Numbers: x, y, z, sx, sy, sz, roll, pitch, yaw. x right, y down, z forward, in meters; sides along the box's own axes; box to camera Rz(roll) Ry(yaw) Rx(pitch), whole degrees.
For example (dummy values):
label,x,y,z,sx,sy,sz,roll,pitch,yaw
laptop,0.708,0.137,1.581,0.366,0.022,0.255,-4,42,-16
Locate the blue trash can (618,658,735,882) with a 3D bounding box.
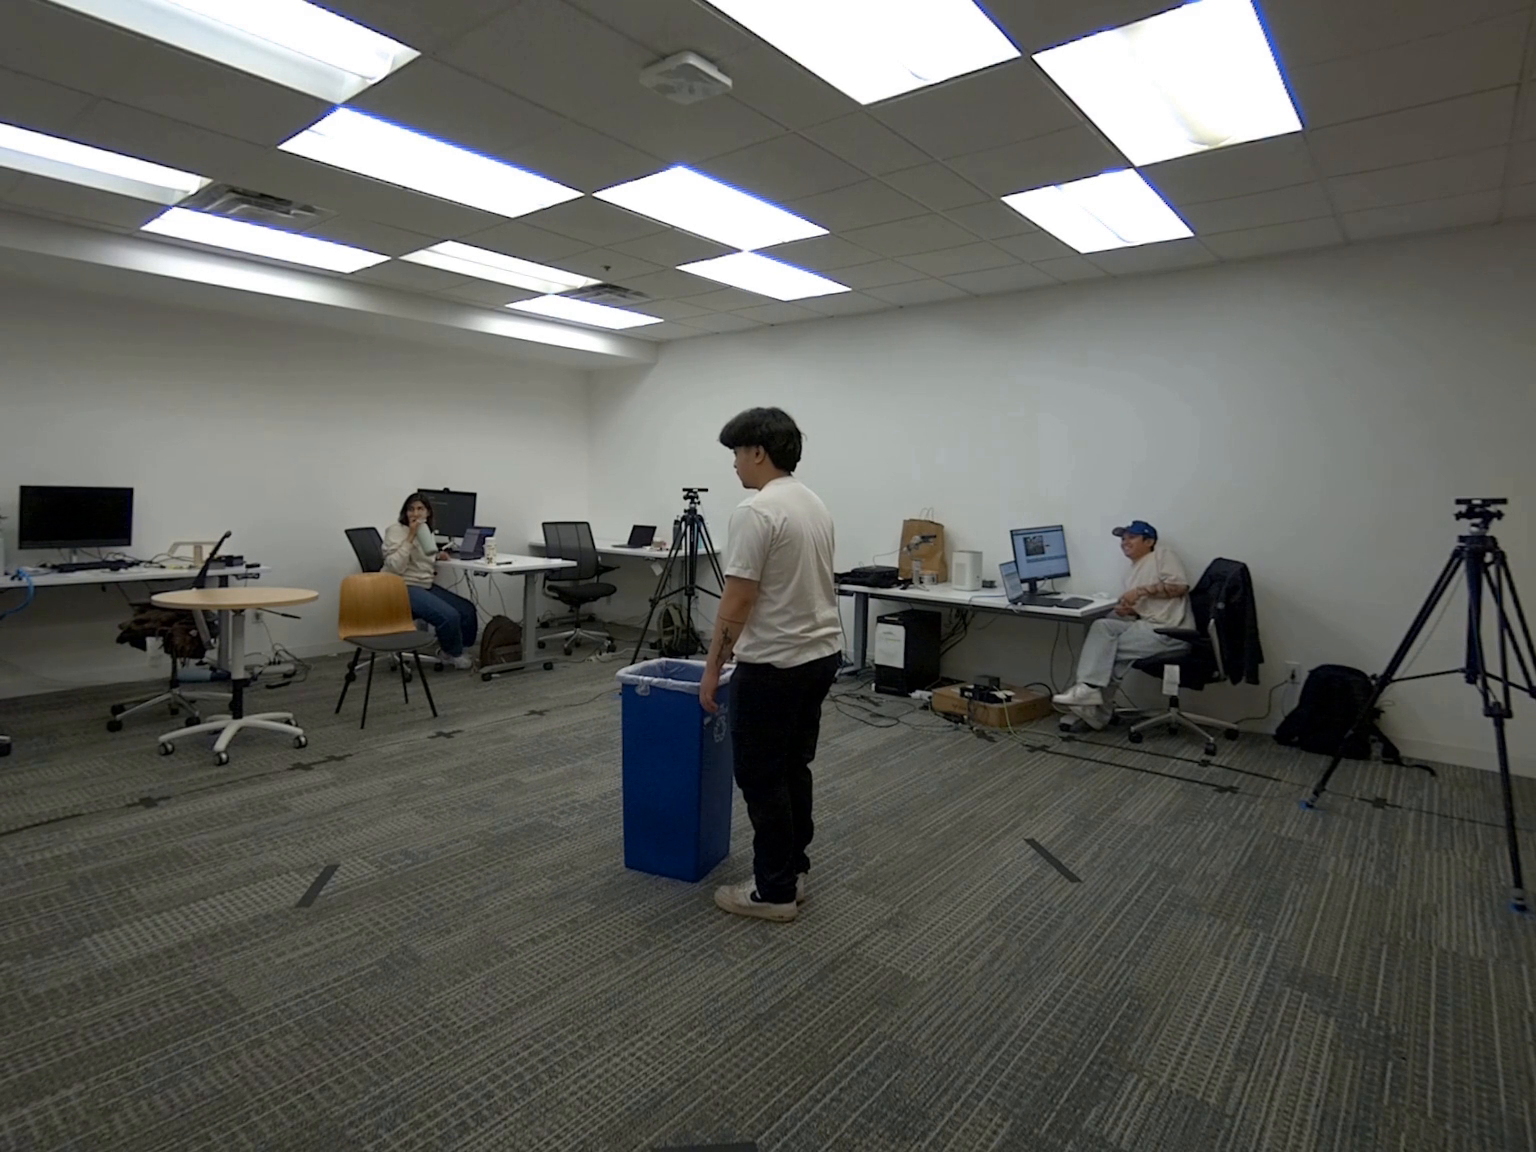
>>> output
label,x,y,z,sx,sy,sz,roll,pitch,yaw
blue trash can,-0.340,0.701,3.180,0.387,0.711,0.366,3,4,22
